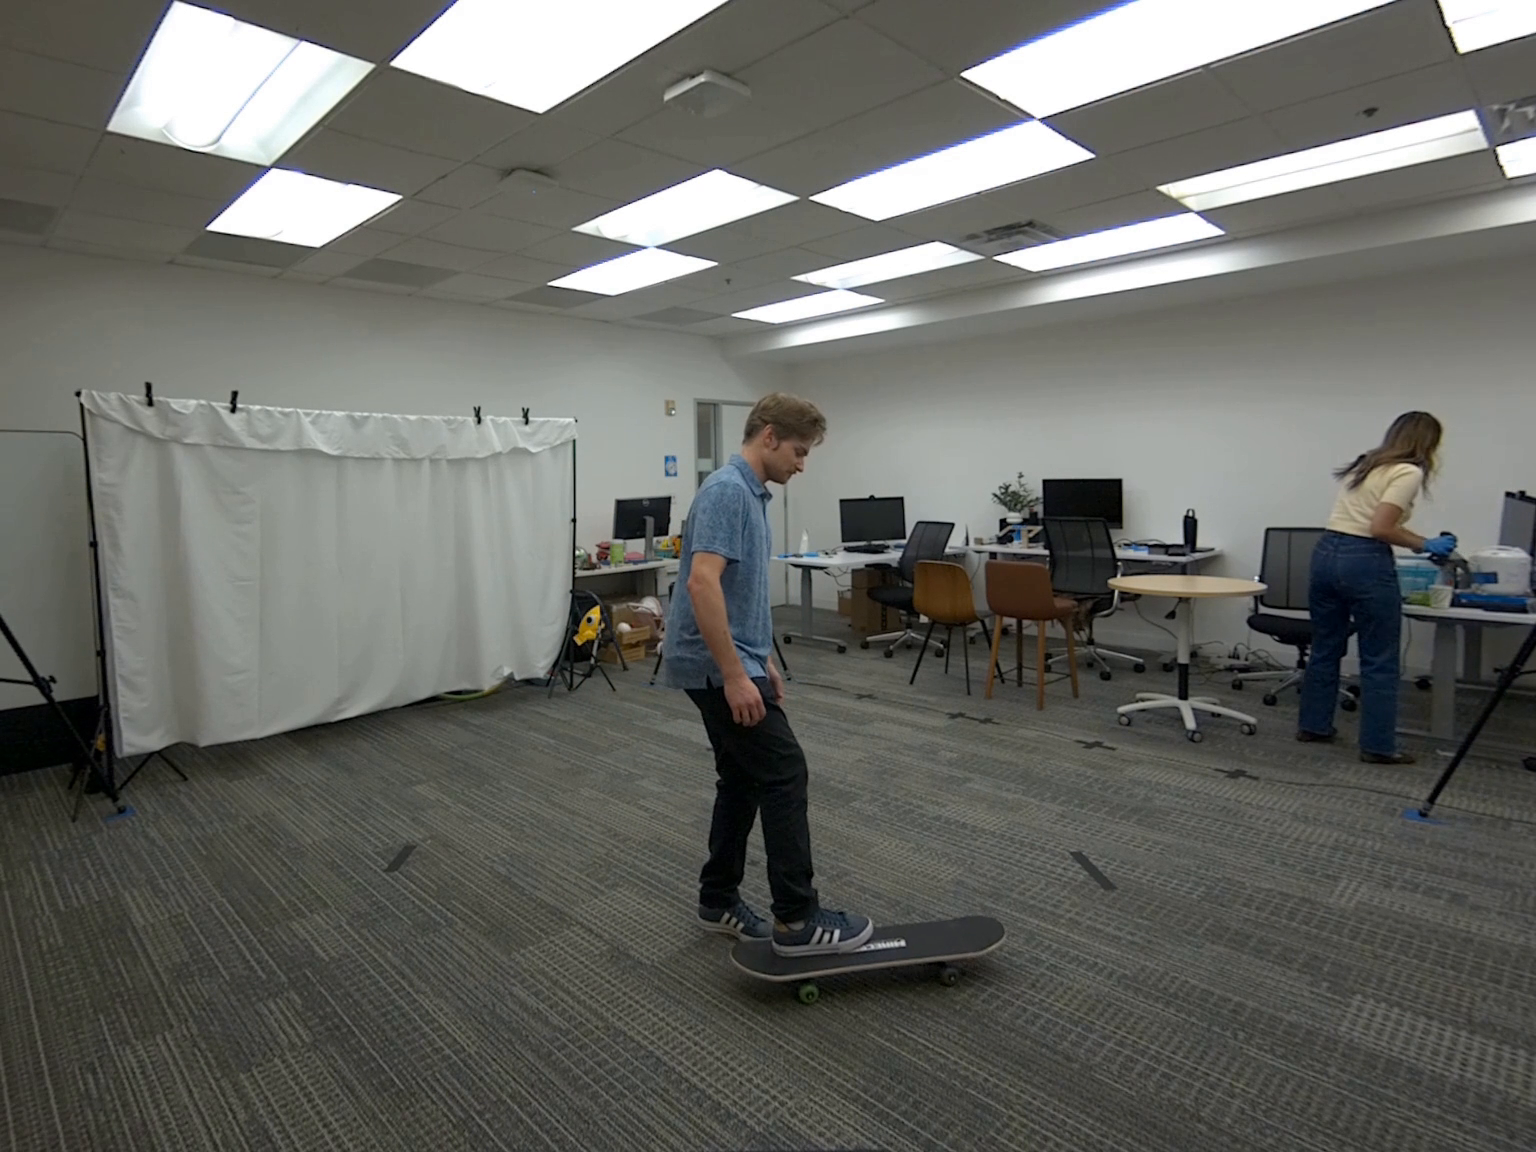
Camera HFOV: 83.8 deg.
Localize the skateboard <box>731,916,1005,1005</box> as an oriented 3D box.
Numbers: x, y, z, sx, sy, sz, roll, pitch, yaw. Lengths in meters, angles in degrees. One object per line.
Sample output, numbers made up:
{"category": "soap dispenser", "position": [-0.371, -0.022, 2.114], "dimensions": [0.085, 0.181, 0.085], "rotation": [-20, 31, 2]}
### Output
{"category": "skateboard", "position": [0.290, 1.063, 2.387], "dimensions": [0.779, 0.110, 0.196], "rotation": [-3, 5, -8]}
